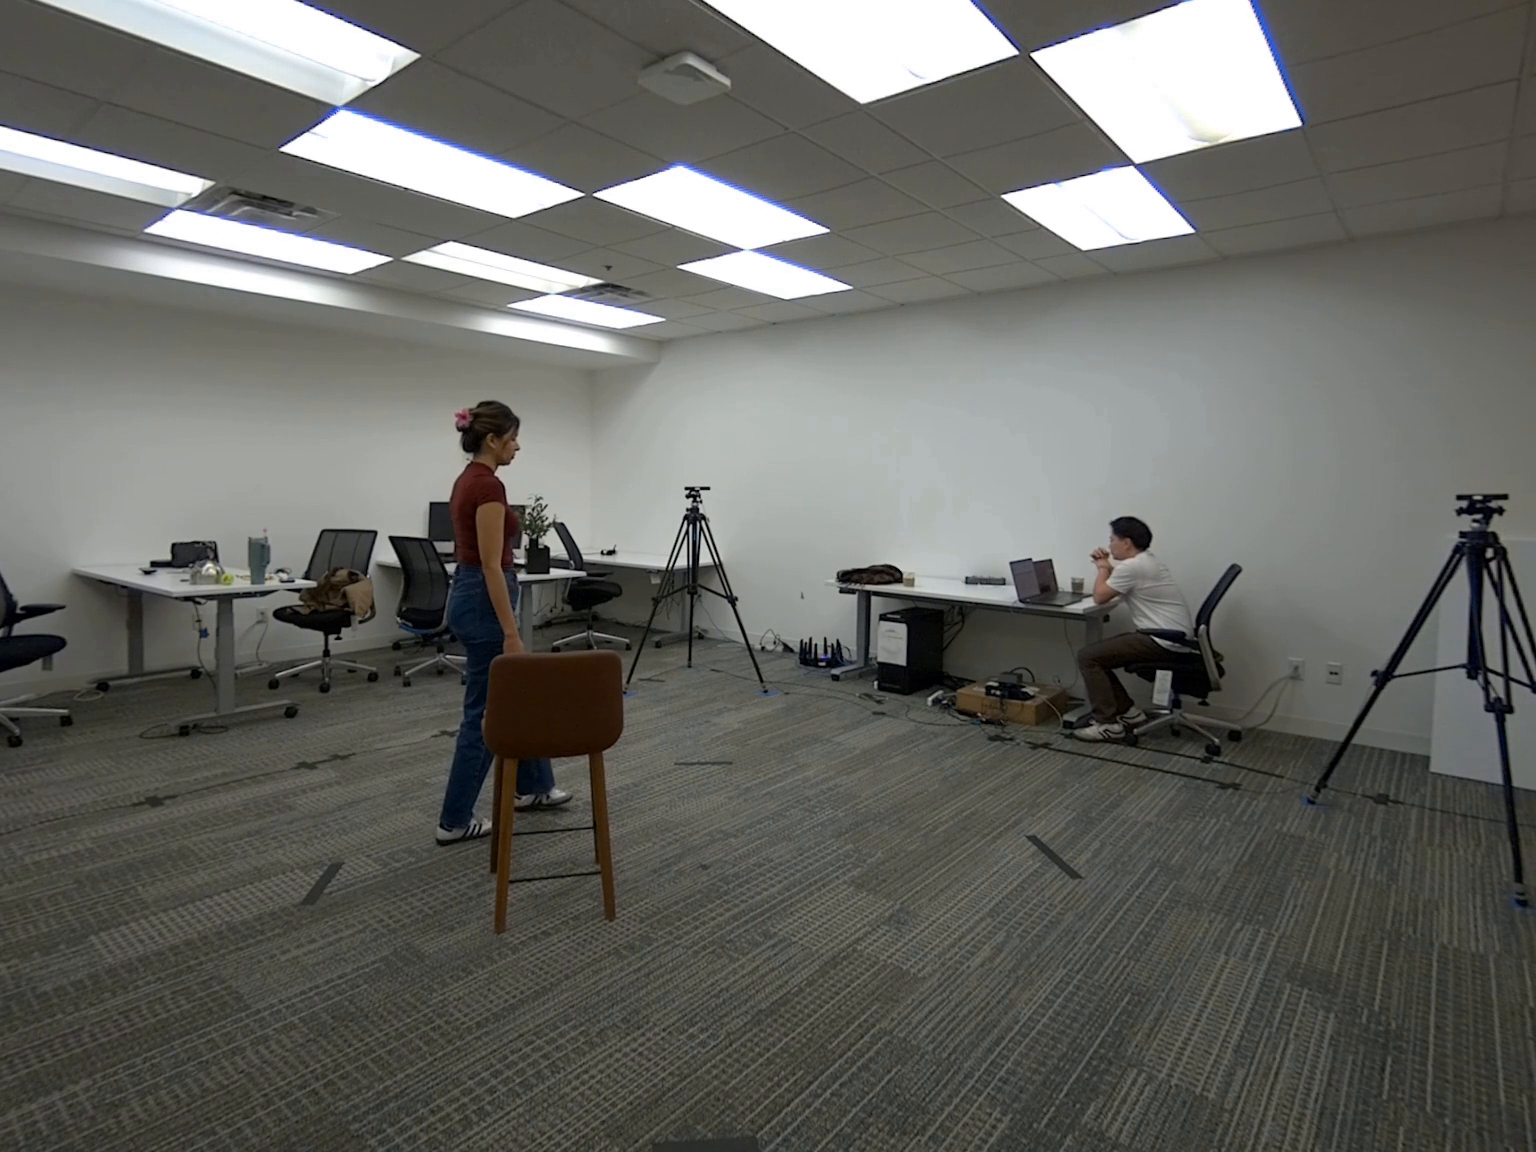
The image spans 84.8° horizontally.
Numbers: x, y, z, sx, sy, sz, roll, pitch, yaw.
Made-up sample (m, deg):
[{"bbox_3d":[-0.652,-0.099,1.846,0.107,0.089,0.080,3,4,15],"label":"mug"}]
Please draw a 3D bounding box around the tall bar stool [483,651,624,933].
[{"bbox_3d":[-0.743,0.651,2.863,0.449,0.886,0.478,-1,5,-17],"label":"tall bar stool"}]
